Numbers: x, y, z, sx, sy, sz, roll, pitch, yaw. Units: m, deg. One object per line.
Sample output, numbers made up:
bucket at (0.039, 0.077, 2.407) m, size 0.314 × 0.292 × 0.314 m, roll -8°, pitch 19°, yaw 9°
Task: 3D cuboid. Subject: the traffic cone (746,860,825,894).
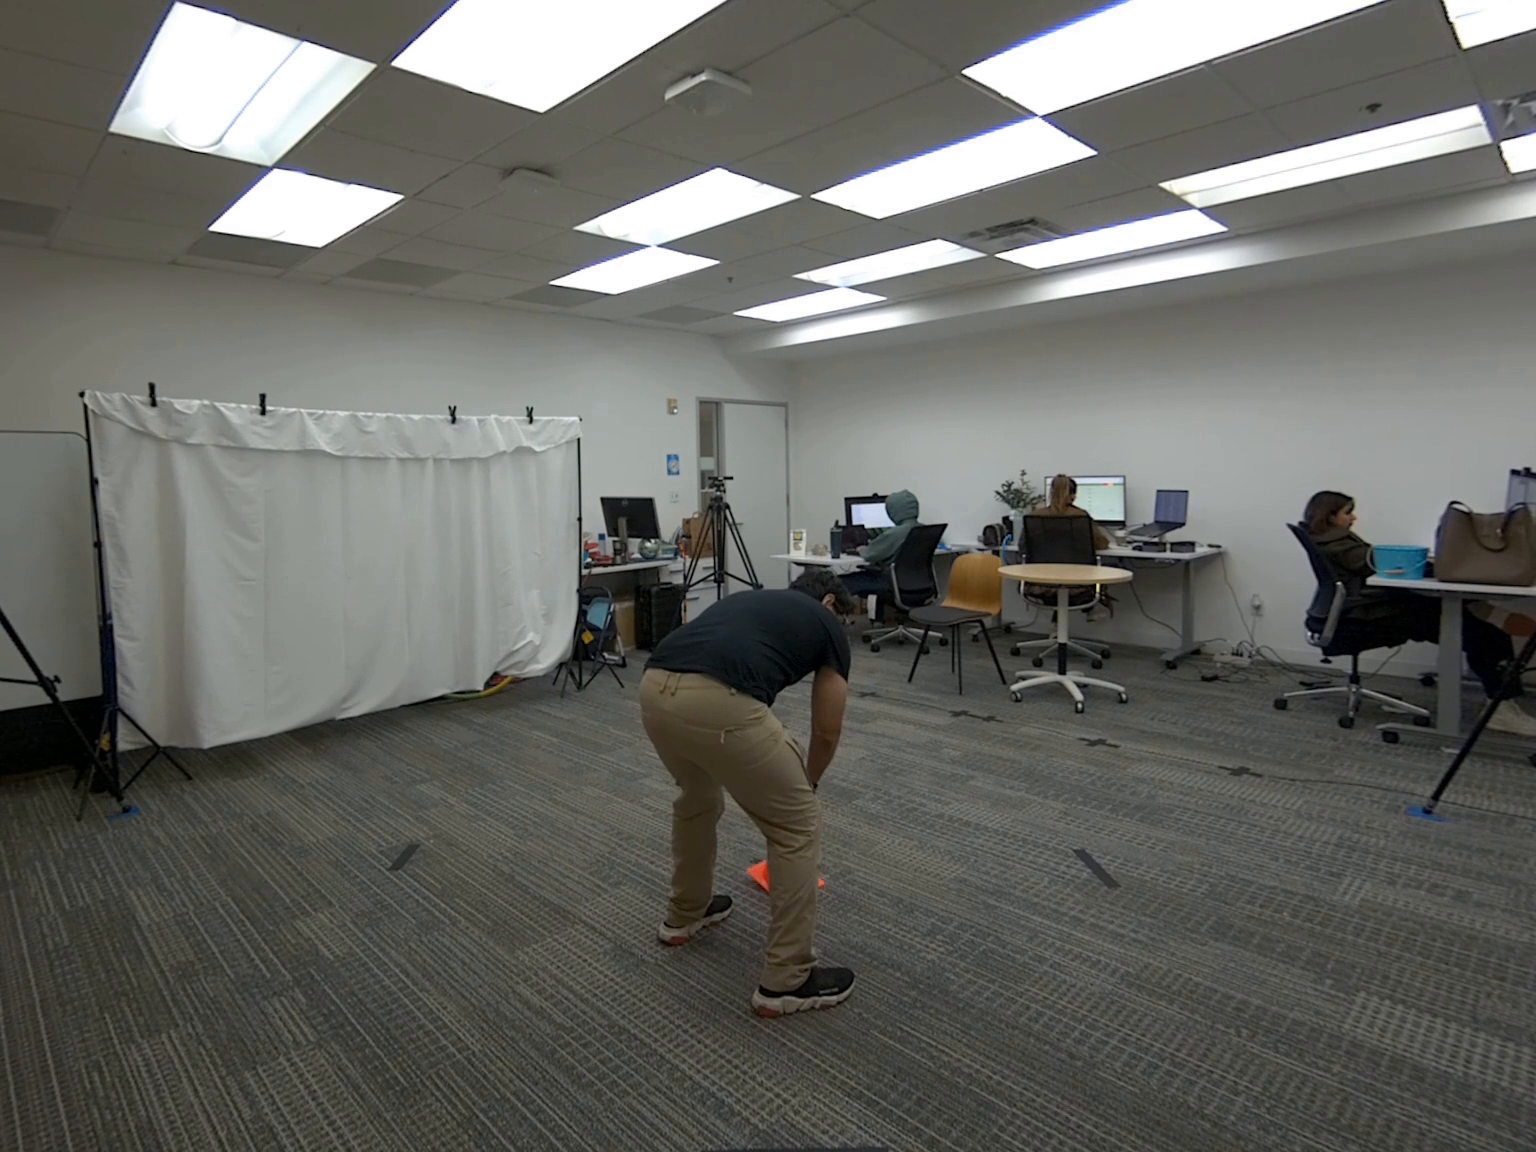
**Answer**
traffic cone at (0.086, 0.862, 2.877) m, size 0.200 × 0.378 × 0.211 m, roll -9°, pitch 22°, yaw -38°
